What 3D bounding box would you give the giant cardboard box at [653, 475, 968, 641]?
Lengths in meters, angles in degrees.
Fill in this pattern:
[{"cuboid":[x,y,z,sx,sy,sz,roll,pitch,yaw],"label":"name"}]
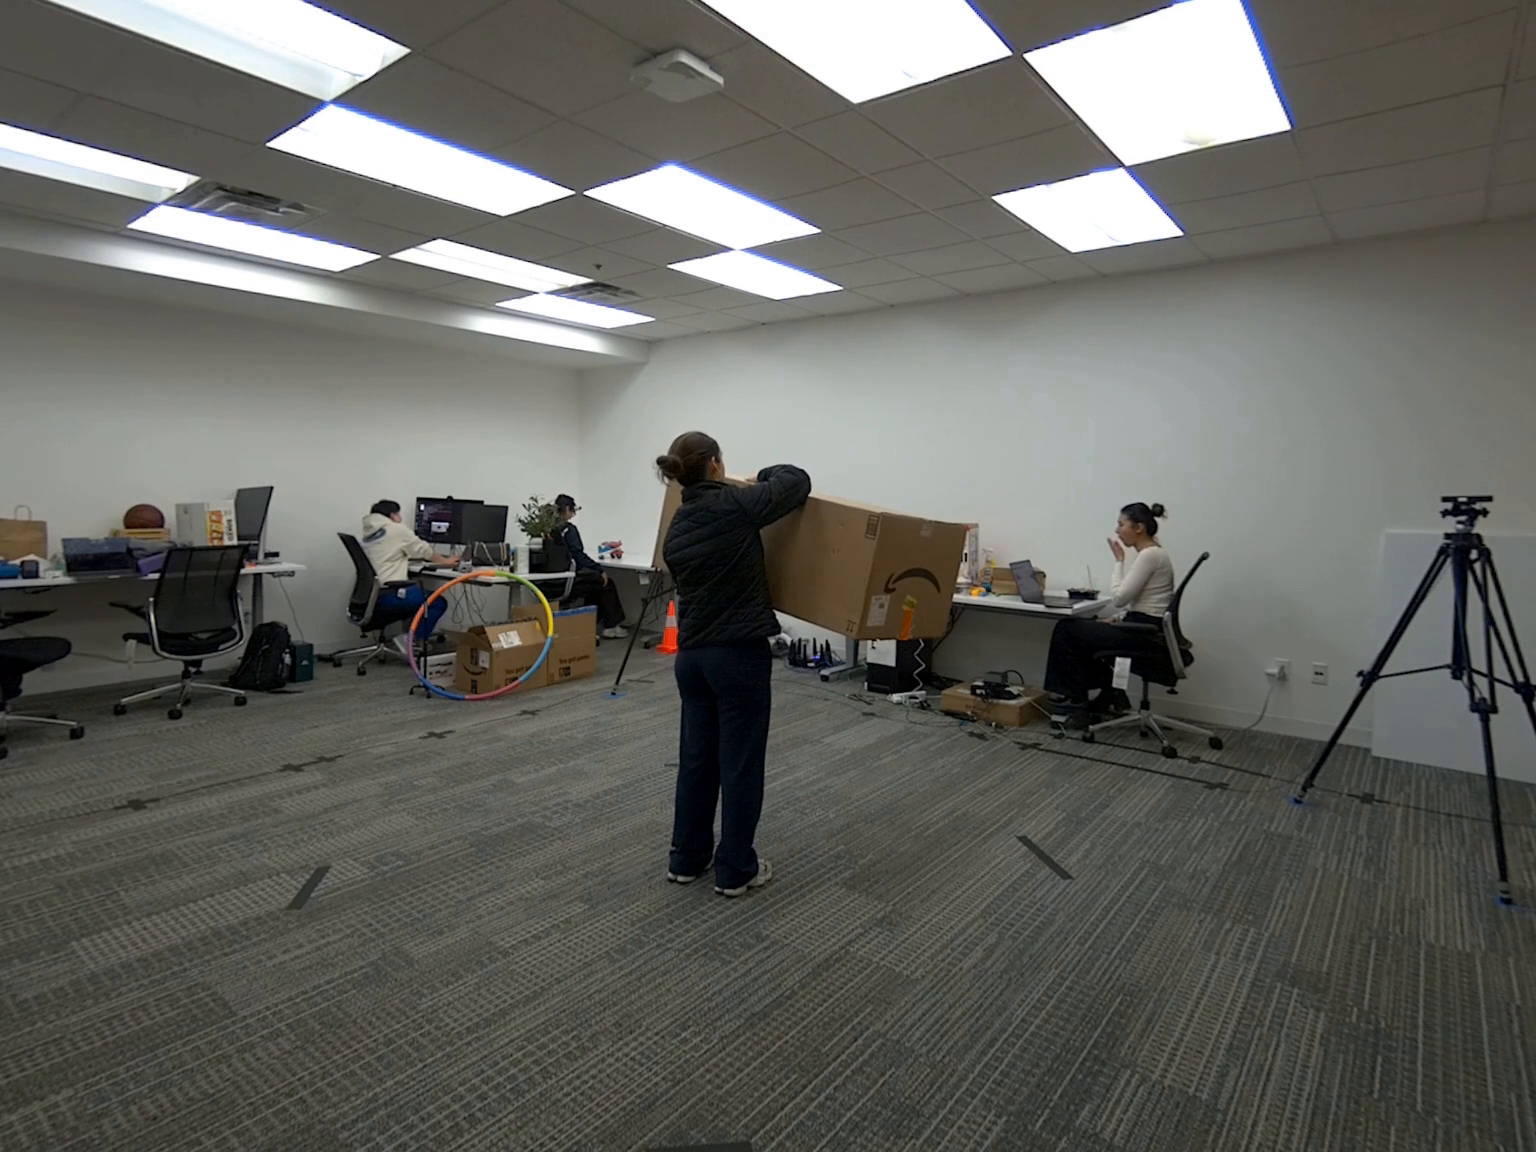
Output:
[{"cuboid":[0.148,-0.109,3.276,1.066,0.424,0.558,18,10,42],"label":"giant cardboard box"}]
